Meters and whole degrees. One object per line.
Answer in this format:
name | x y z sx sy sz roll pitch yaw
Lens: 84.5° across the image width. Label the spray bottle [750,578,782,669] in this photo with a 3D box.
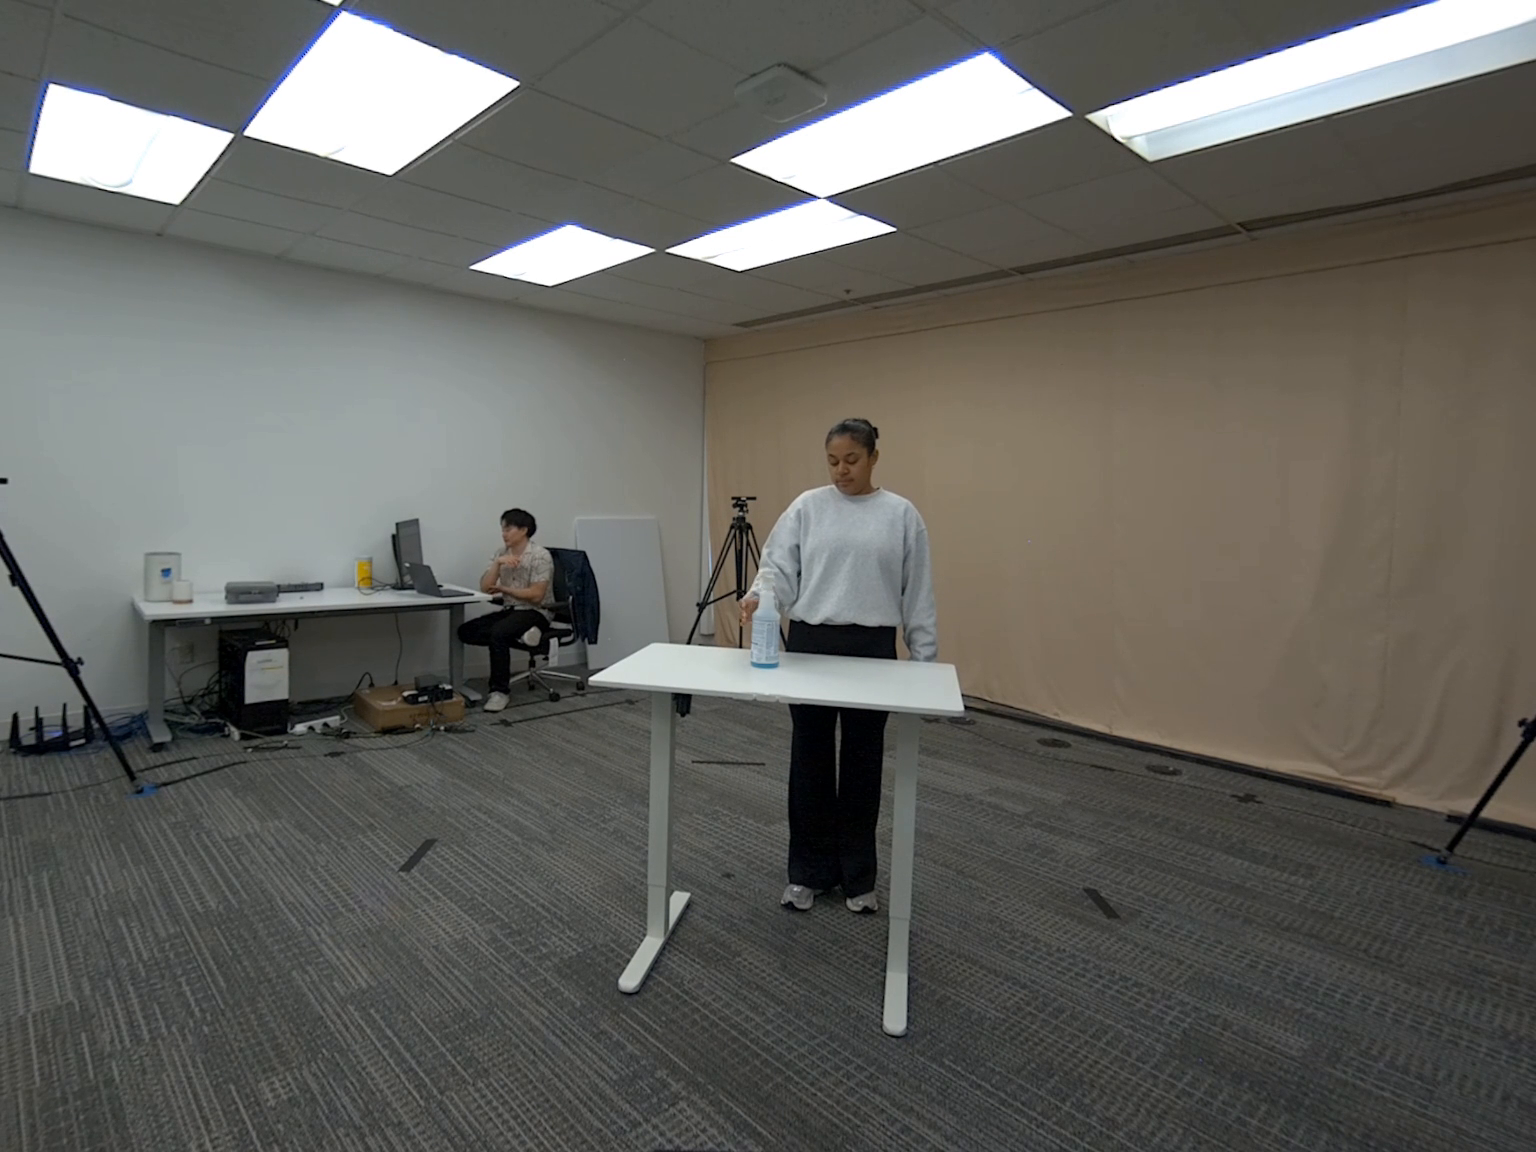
spray bottle | -0.017 0.132 2.562 0.088 0.297 0.089 -2 3 -35
